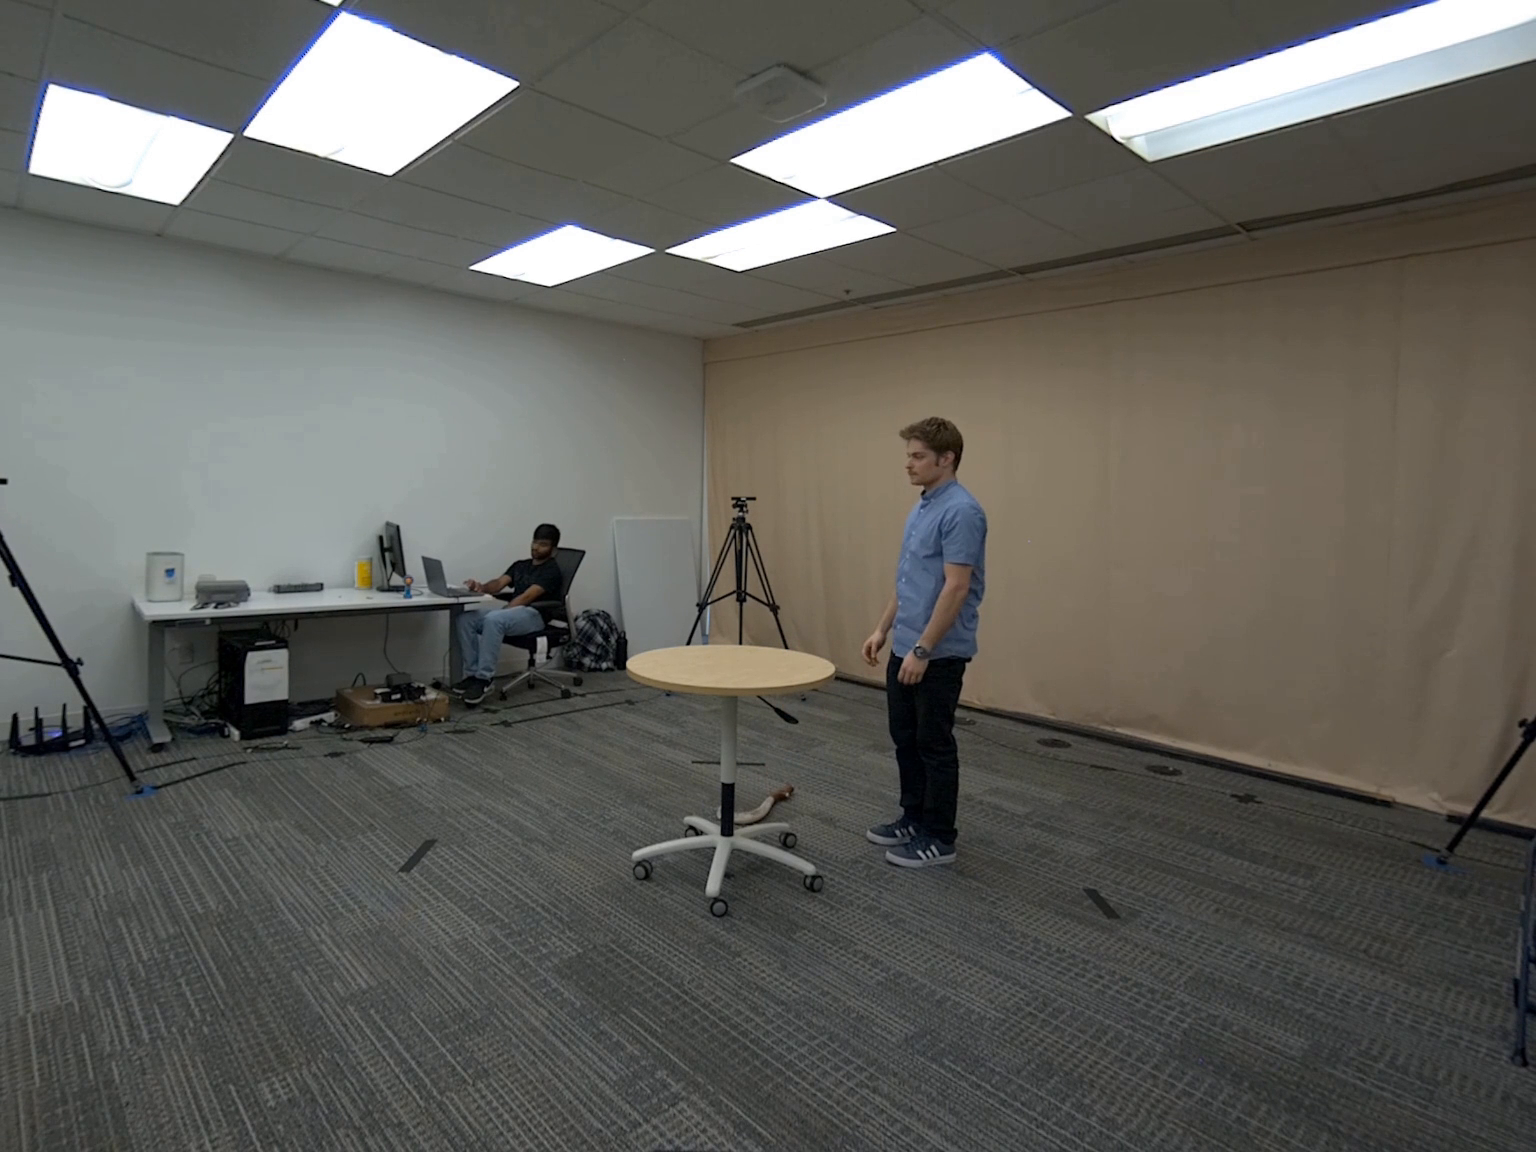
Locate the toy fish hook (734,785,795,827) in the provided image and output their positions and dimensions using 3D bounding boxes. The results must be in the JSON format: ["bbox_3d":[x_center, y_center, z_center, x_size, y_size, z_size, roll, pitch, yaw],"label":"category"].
[{"bbox_3d":[-0.065,1.025,3.819,0.229,0.048,0.497,4,5,29],"label":"toy fish hook"}]
